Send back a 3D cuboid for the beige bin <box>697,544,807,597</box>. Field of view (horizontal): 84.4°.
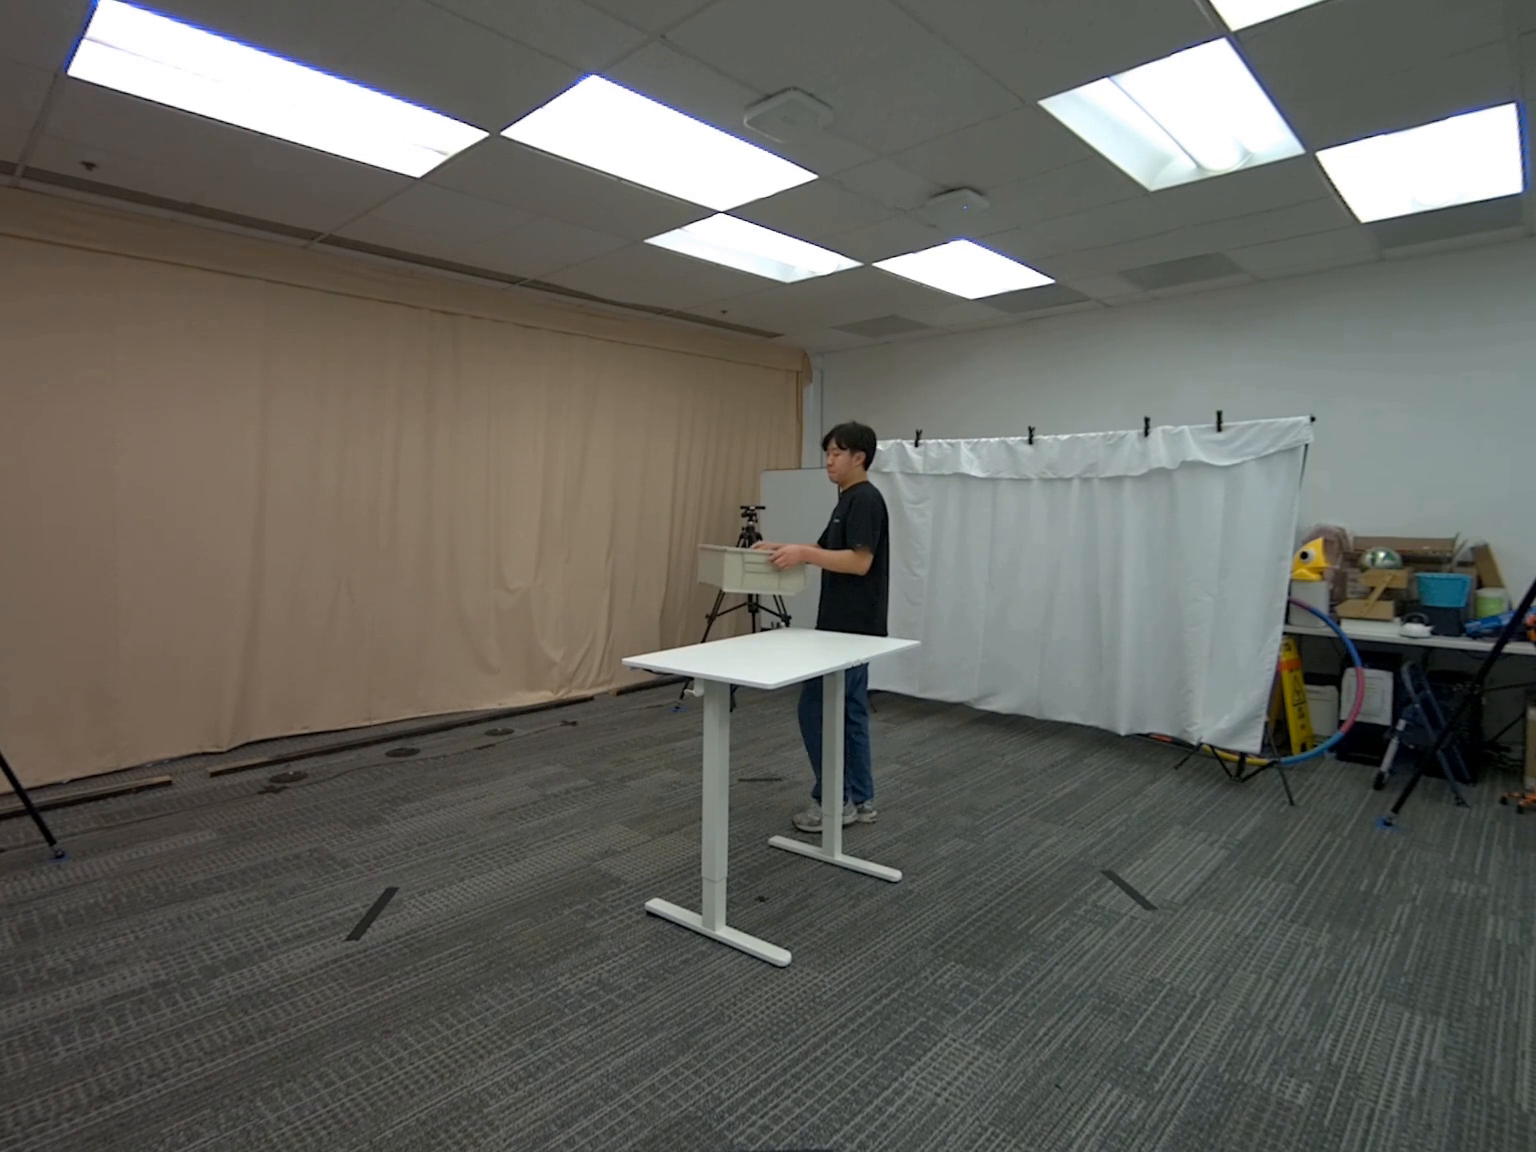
[{"bbox_3d":[-0.075,-0.020,3.643,0.369,0.189,0.432,5,3,-20],"label":"beige bin"}]
